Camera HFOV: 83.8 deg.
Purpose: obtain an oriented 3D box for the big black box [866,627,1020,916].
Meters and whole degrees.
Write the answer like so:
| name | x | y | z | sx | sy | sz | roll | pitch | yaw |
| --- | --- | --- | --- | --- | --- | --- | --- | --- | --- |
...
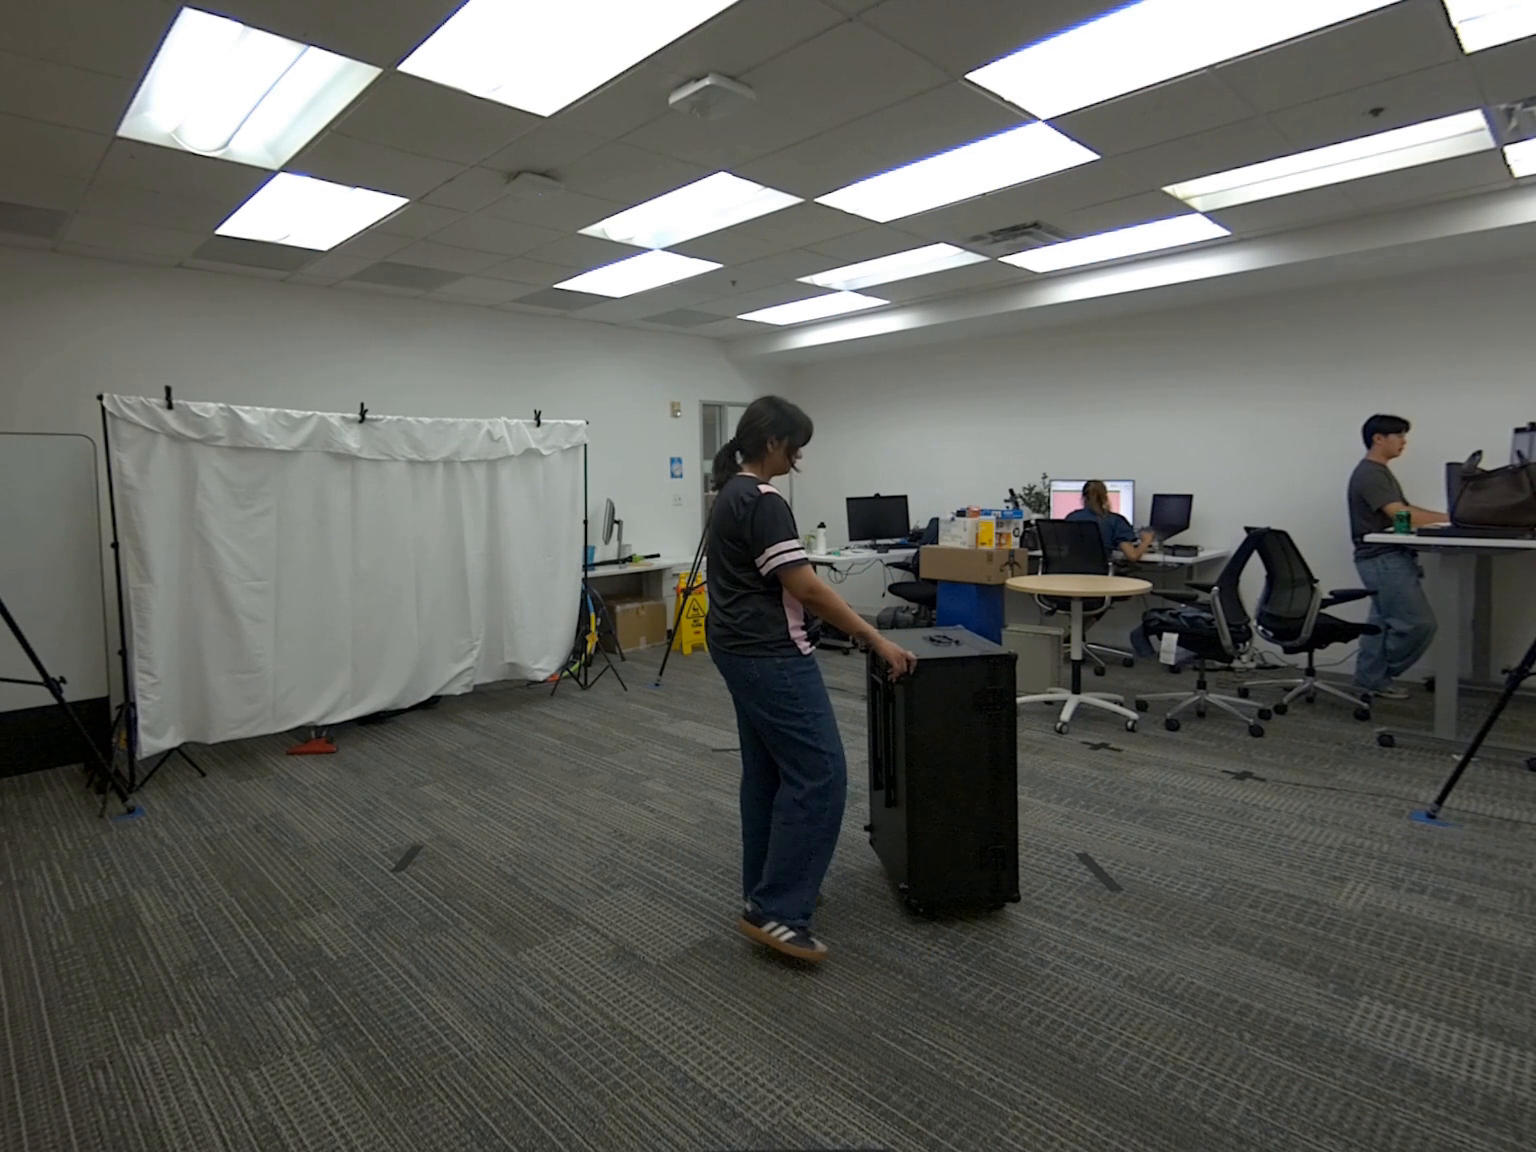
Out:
| name | x | y | z | sx | sy | sz | roll | pitch | yaw |
| --- | --- | --- | --- | --- | --- | --- | --- | --- | --- |
| big black box | 0.566 | 0.642 | 2.845 | 0.383 | 0.865 | 0.528 | -3 | 5 | -7 |
